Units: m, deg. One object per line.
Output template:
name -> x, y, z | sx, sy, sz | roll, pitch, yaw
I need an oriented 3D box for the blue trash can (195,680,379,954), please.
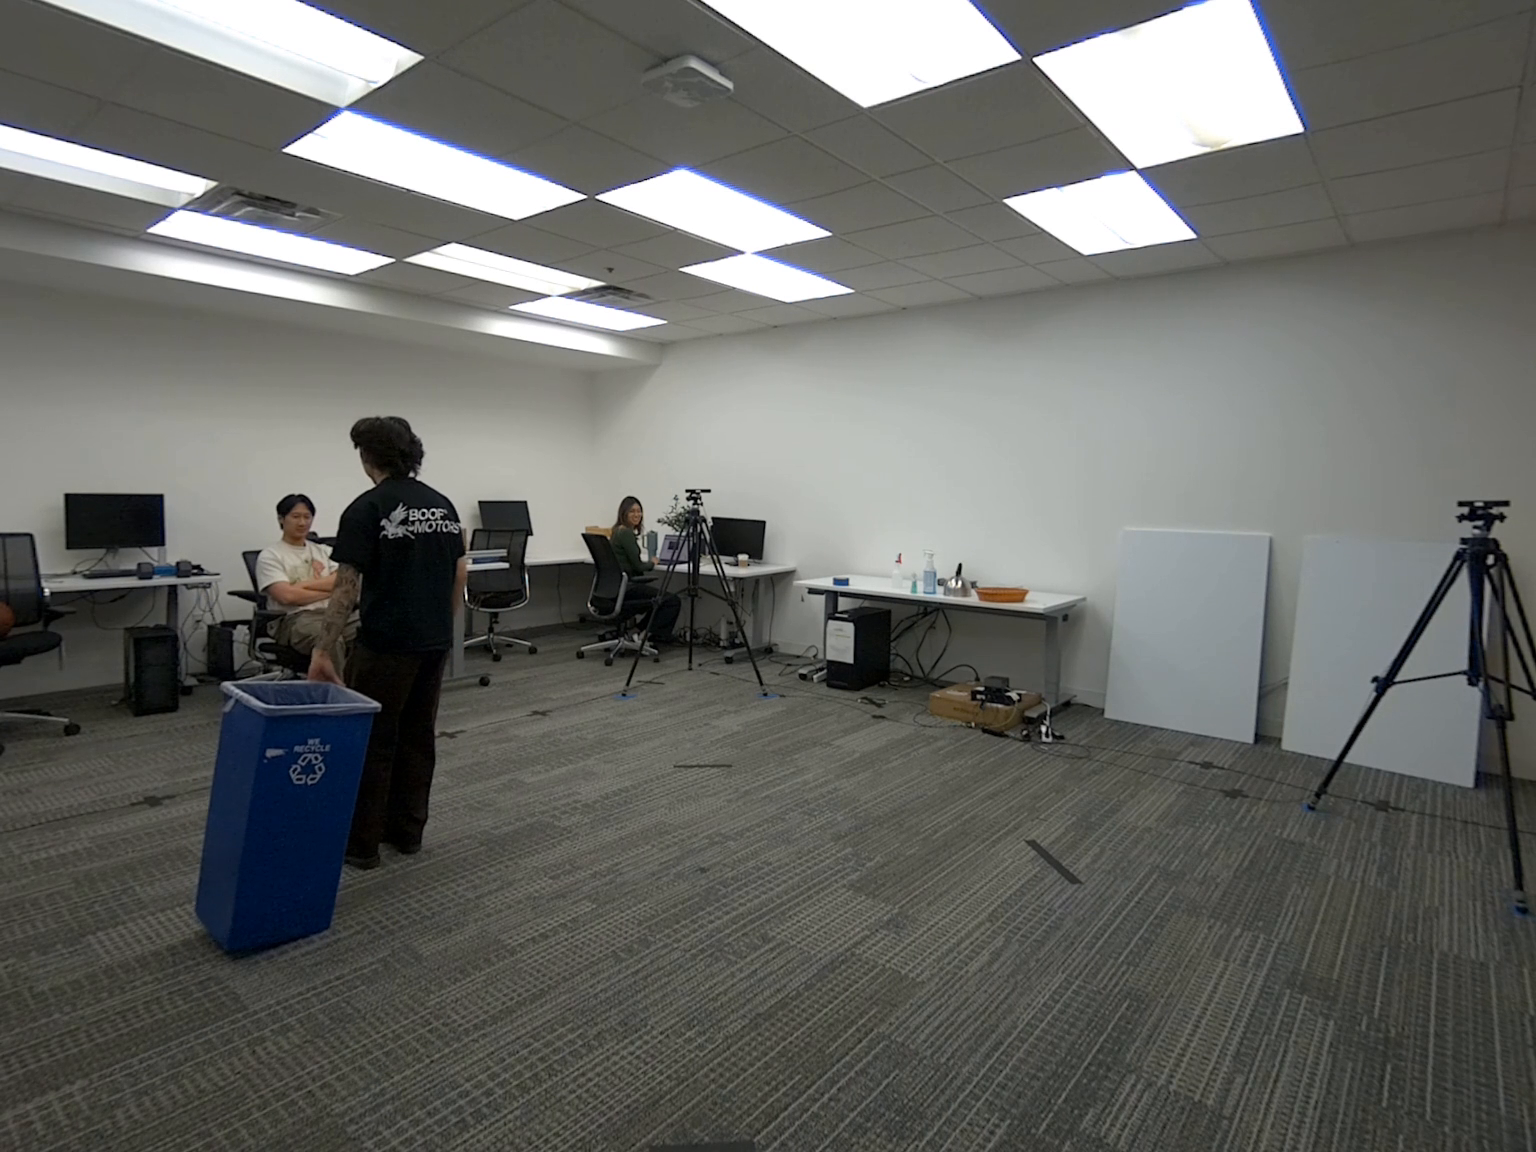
blue trash can -> -1.539, 0.719, 2.668 | 0.391, 0.714, 0.361 | 7, -1, 39
